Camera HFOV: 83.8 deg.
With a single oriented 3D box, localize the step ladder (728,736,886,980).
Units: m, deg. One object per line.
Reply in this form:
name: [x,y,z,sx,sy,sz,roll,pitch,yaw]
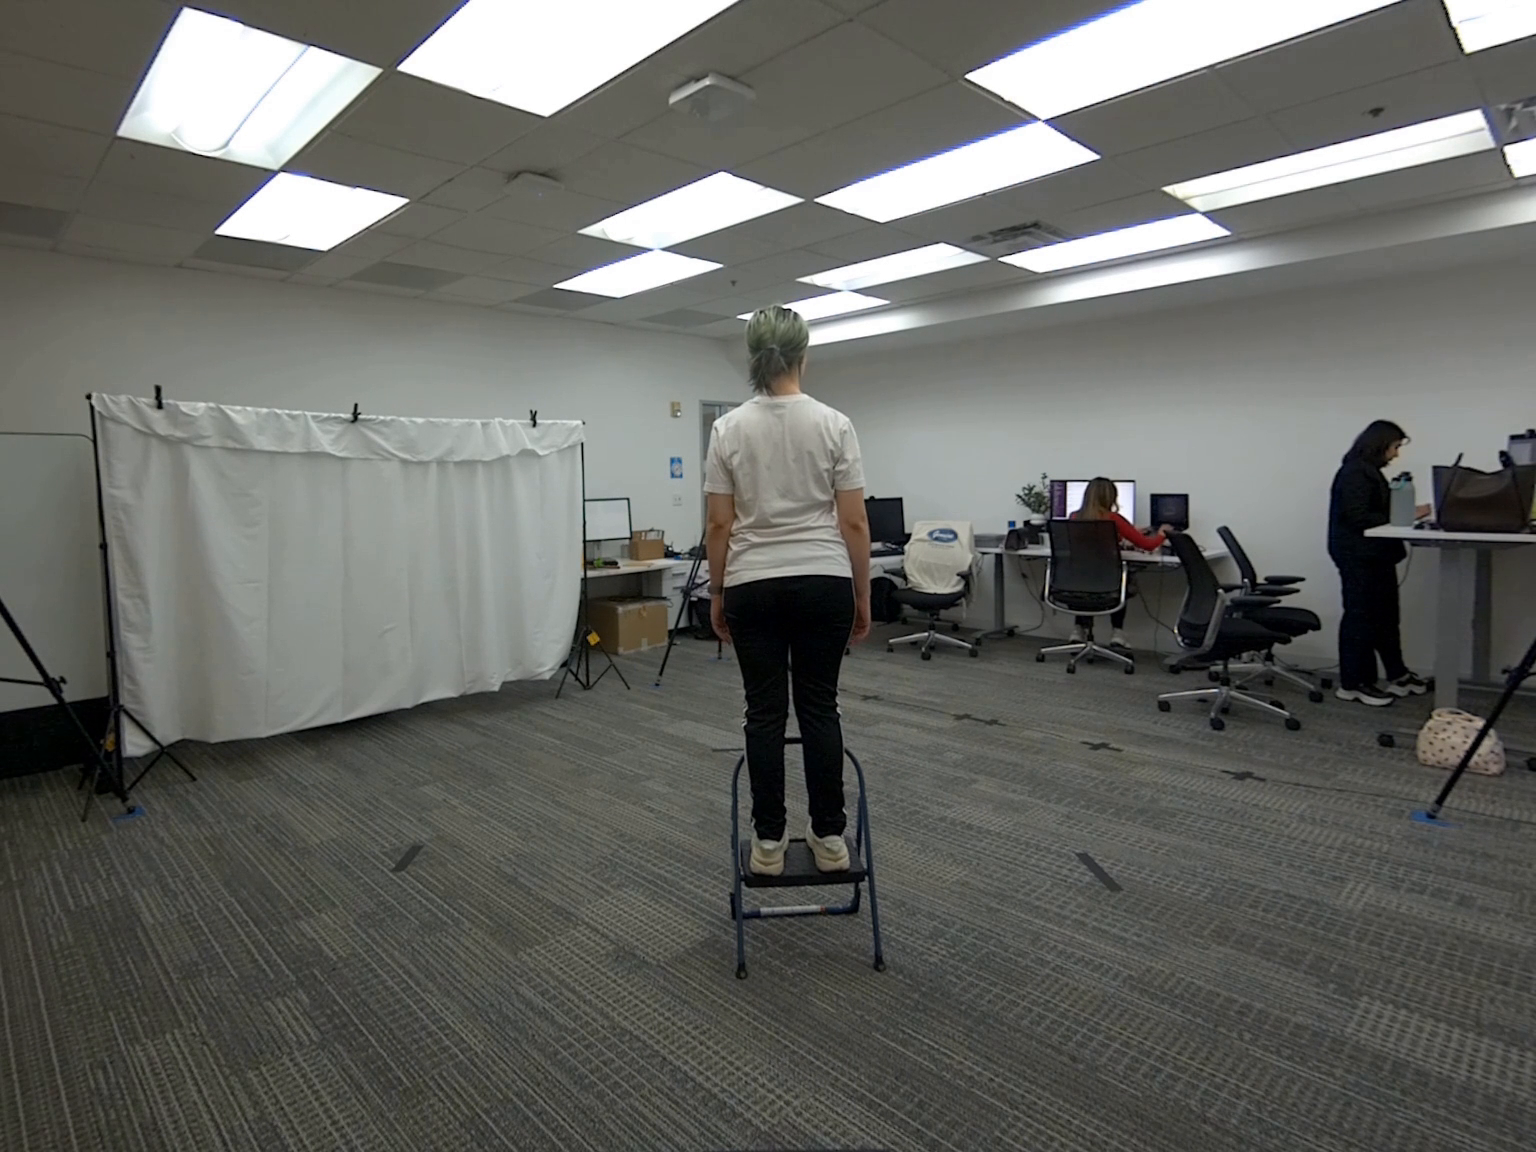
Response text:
step ladder: [0.104,0.808,2.565,0.429,0.603,0.352,-1,5,-5]
